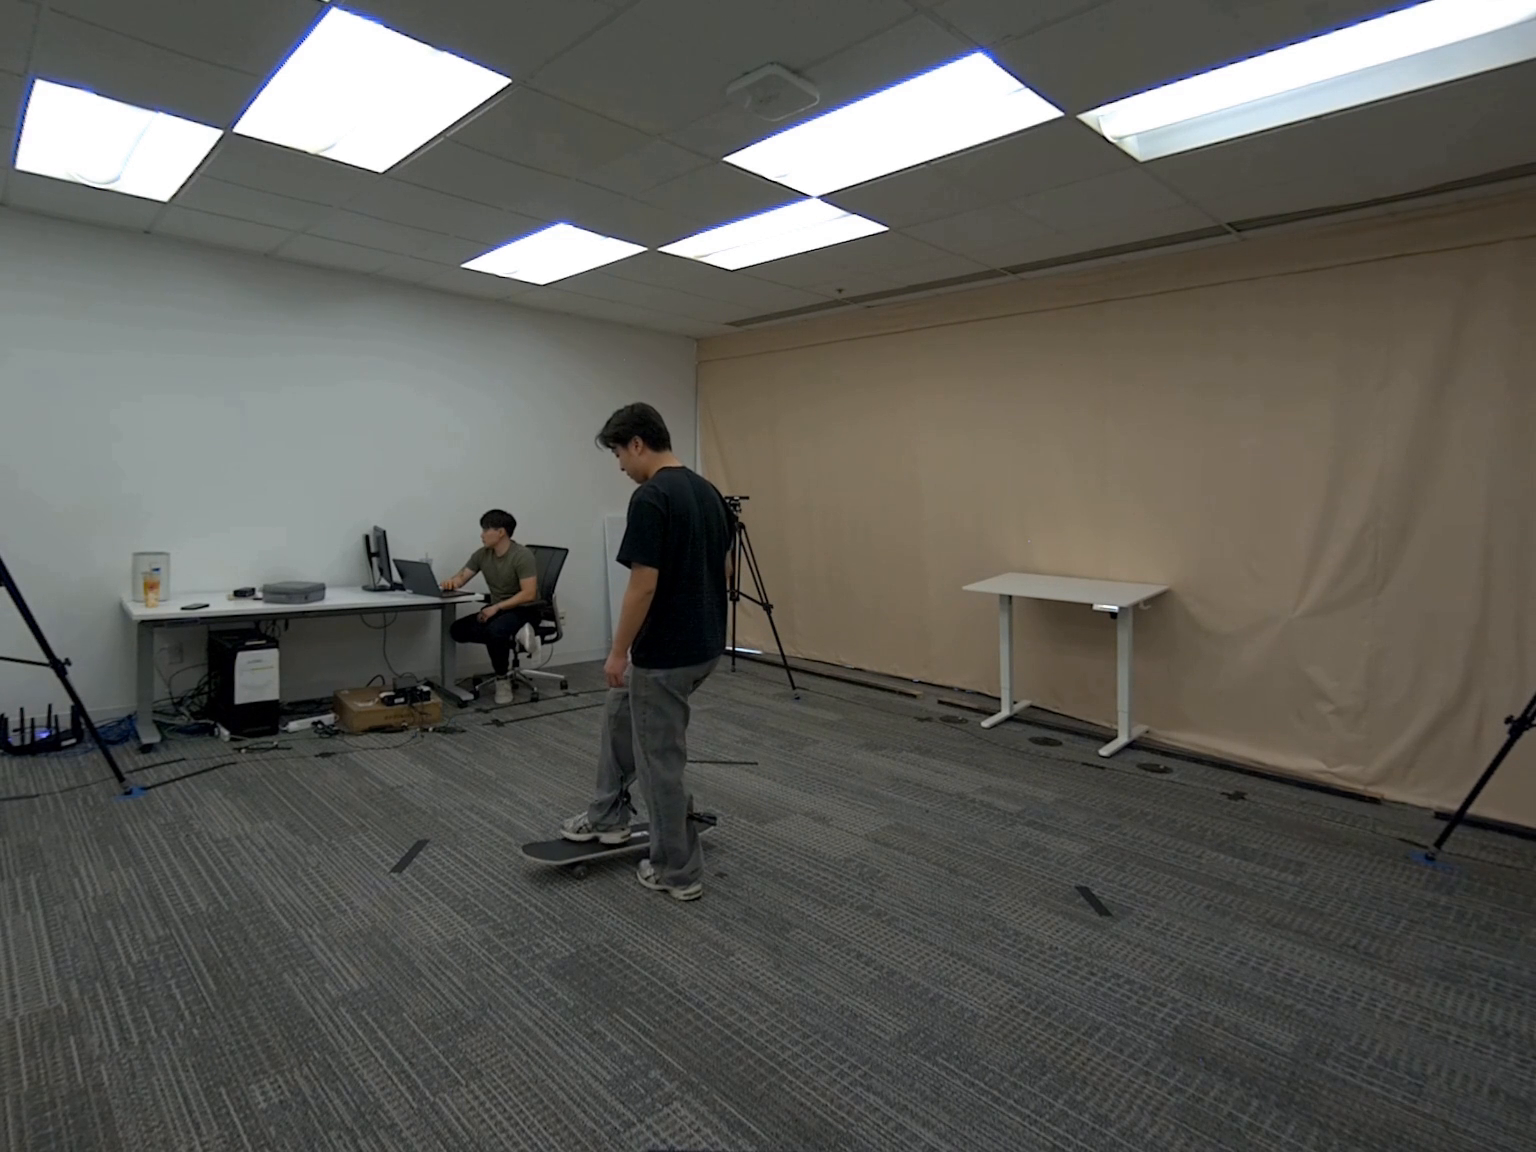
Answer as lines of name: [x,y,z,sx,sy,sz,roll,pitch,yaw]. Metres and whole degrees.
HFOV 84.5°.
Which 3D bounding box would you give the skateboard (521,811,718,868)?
skateboard: [-0.554,1.028,3.211,0.770,0.110,0.198,-2,5,-28]
